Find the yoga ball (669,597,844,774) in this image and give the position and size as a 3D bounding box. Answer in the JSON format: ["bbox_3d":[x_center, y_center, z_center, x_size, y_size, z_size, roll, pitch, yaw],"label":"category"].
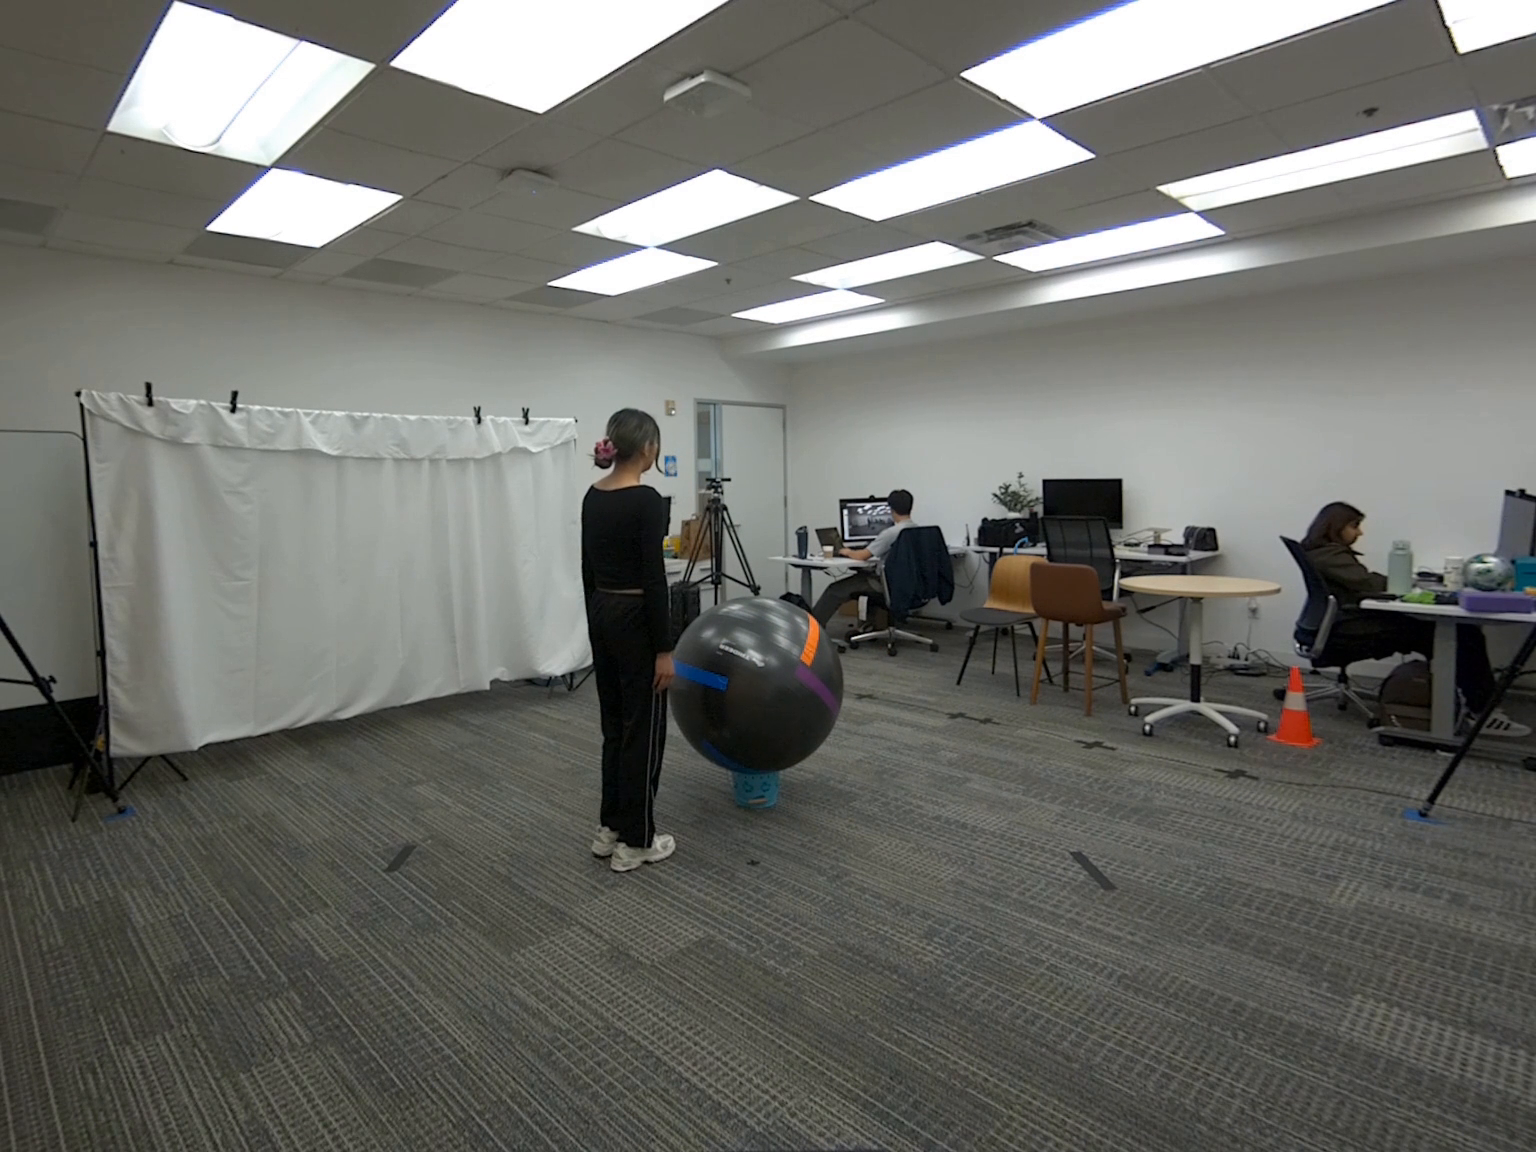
[{"bbox_3d":[-0.056,0.466,3.686,0.757,0.755,0.762,-1,5,-2],"label":"yoga ball"}]
